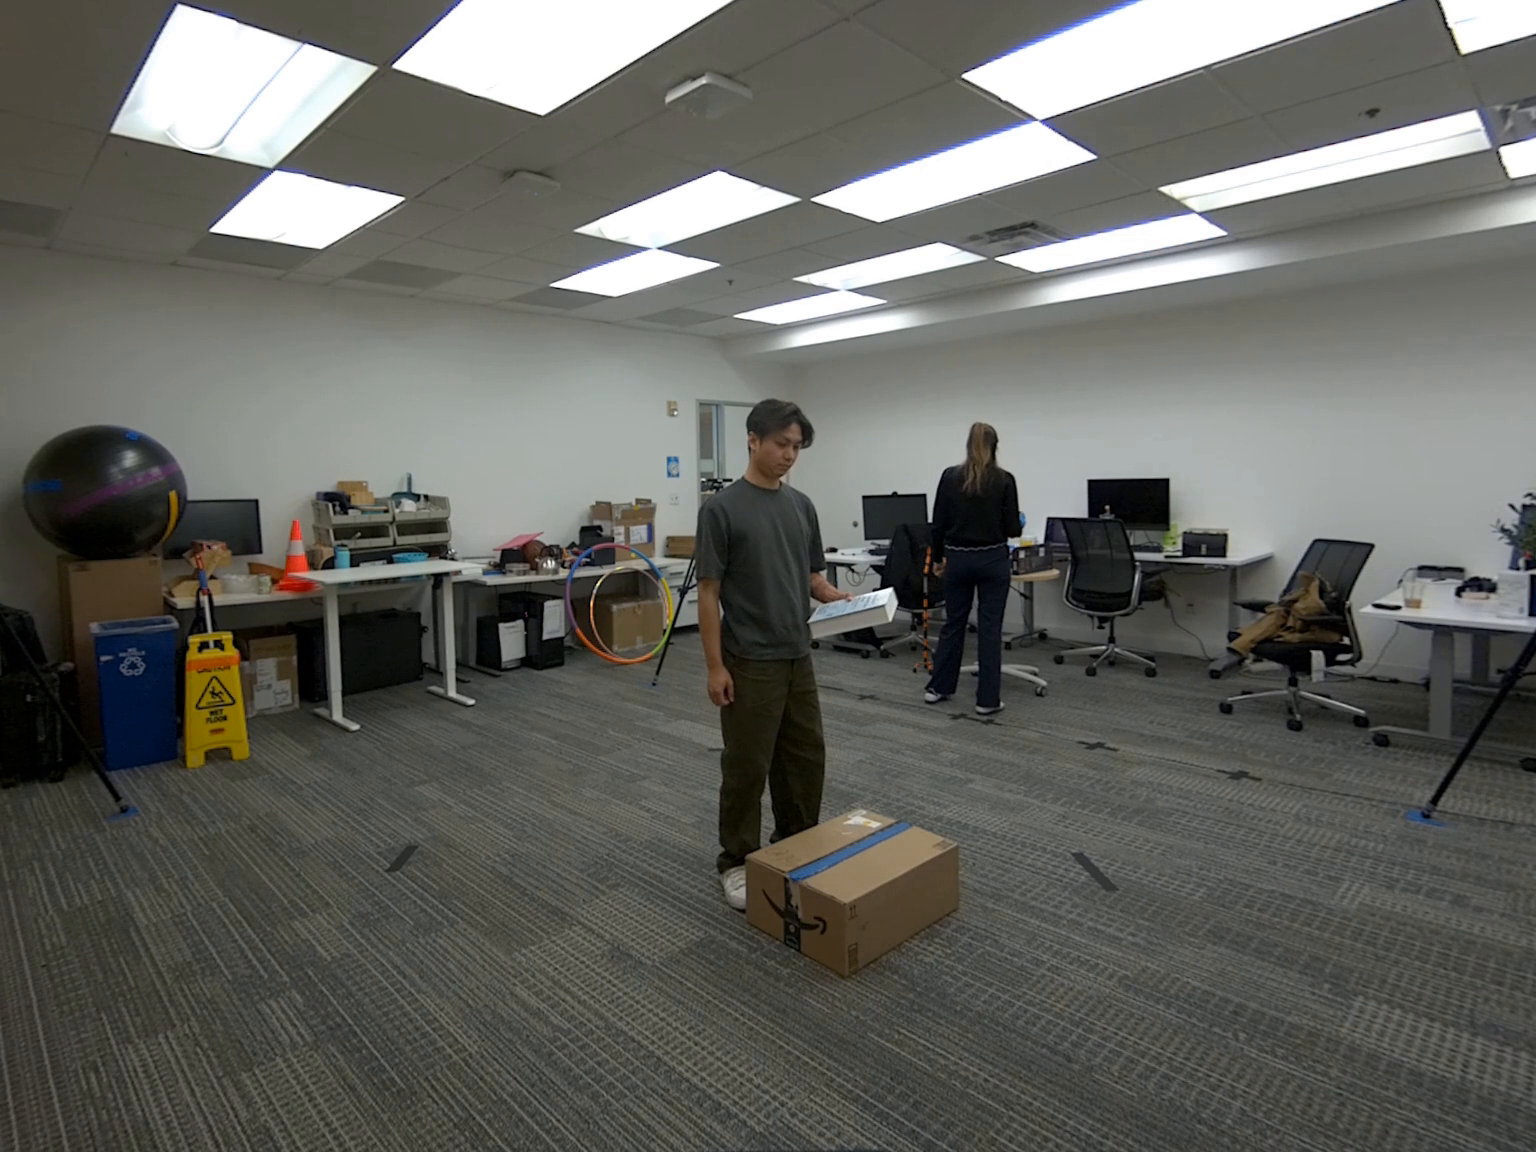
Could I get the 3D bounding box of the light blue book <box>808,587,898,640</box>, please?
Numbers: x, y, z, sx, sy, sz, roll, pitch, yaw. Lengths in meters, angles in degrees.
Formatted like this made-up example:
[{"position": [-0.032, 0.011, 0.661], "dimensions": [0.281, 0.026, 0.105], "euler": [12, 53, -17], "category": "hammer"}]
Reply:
[{"position": [0.274, 0.121, 2.766], "dimensions": [0.264, 0.058, 0.191], "euler": [-14, 11, 18], "category": "light blue book"}]
